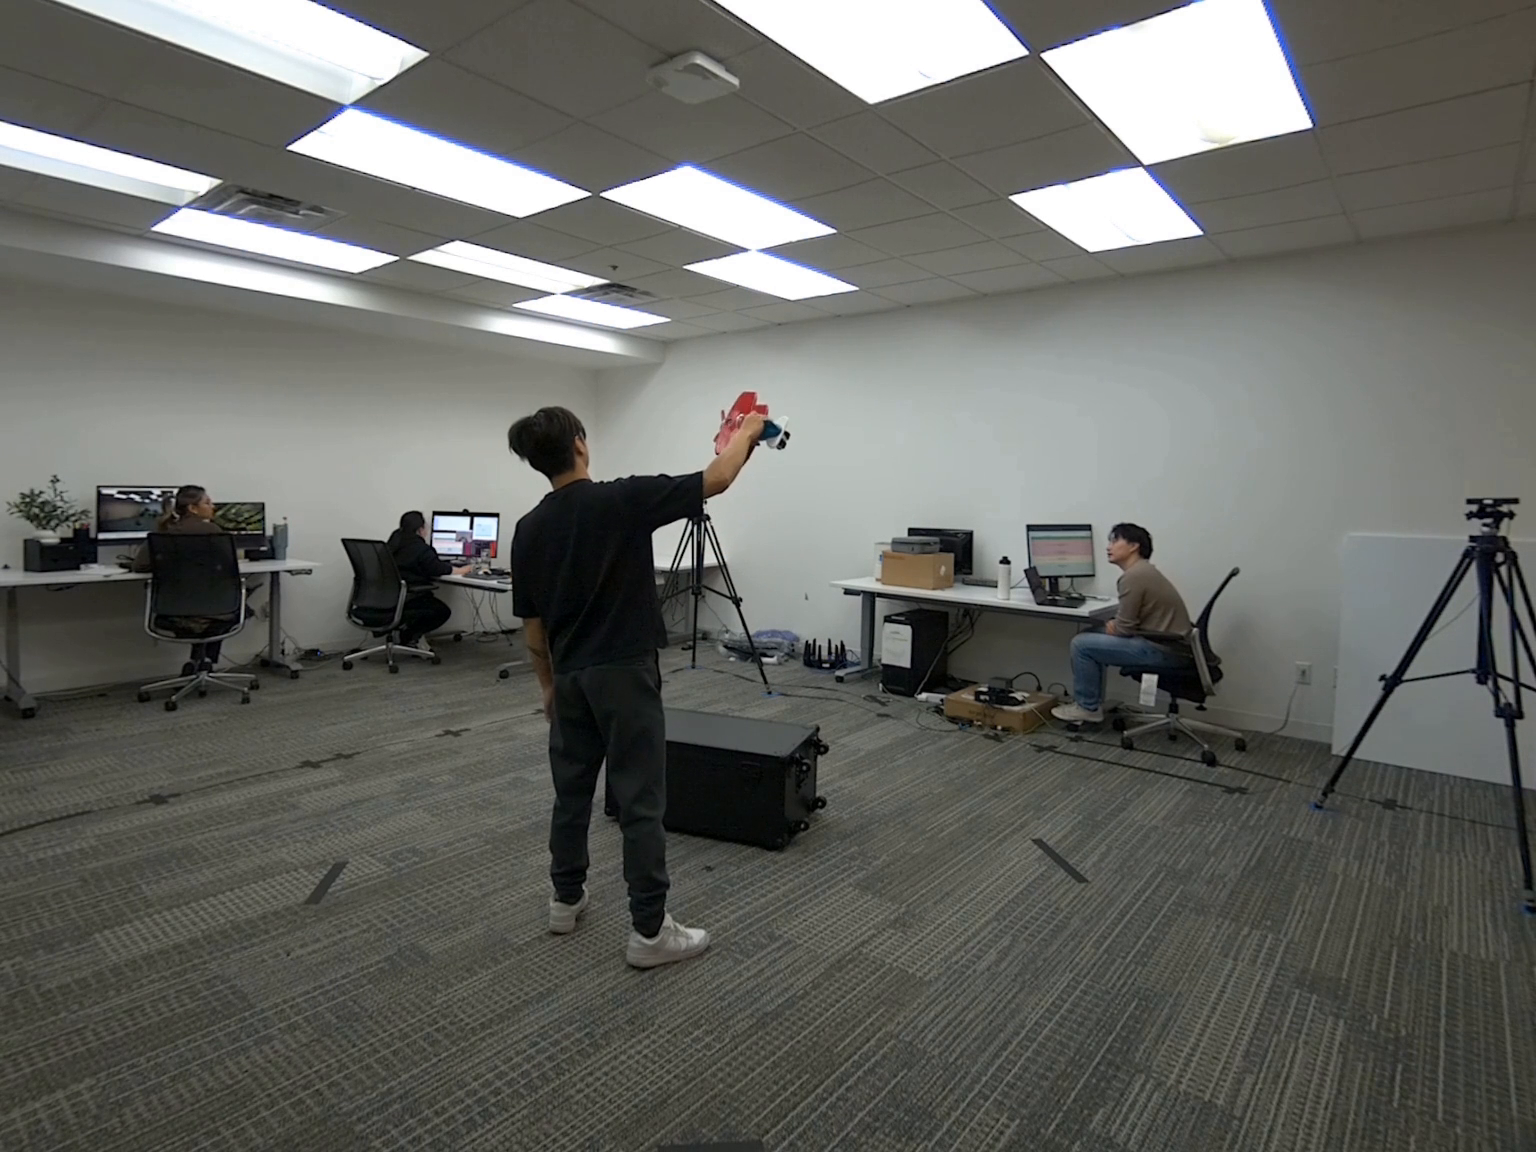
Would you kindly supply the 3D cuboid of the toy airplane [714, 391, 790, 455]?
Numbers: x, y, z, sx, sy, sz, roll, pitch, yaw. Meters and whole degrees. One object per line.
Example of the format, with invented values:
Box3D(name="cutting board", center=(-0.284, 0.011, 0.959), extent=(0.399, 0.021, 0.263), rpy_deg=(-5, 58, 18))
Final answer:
Box3D(name="toy airplane", center=(-0.050, -0.496, 2.848), extent=(0.262, 0.257, 0.150), rpy_deg=(-28, -48, 35))
